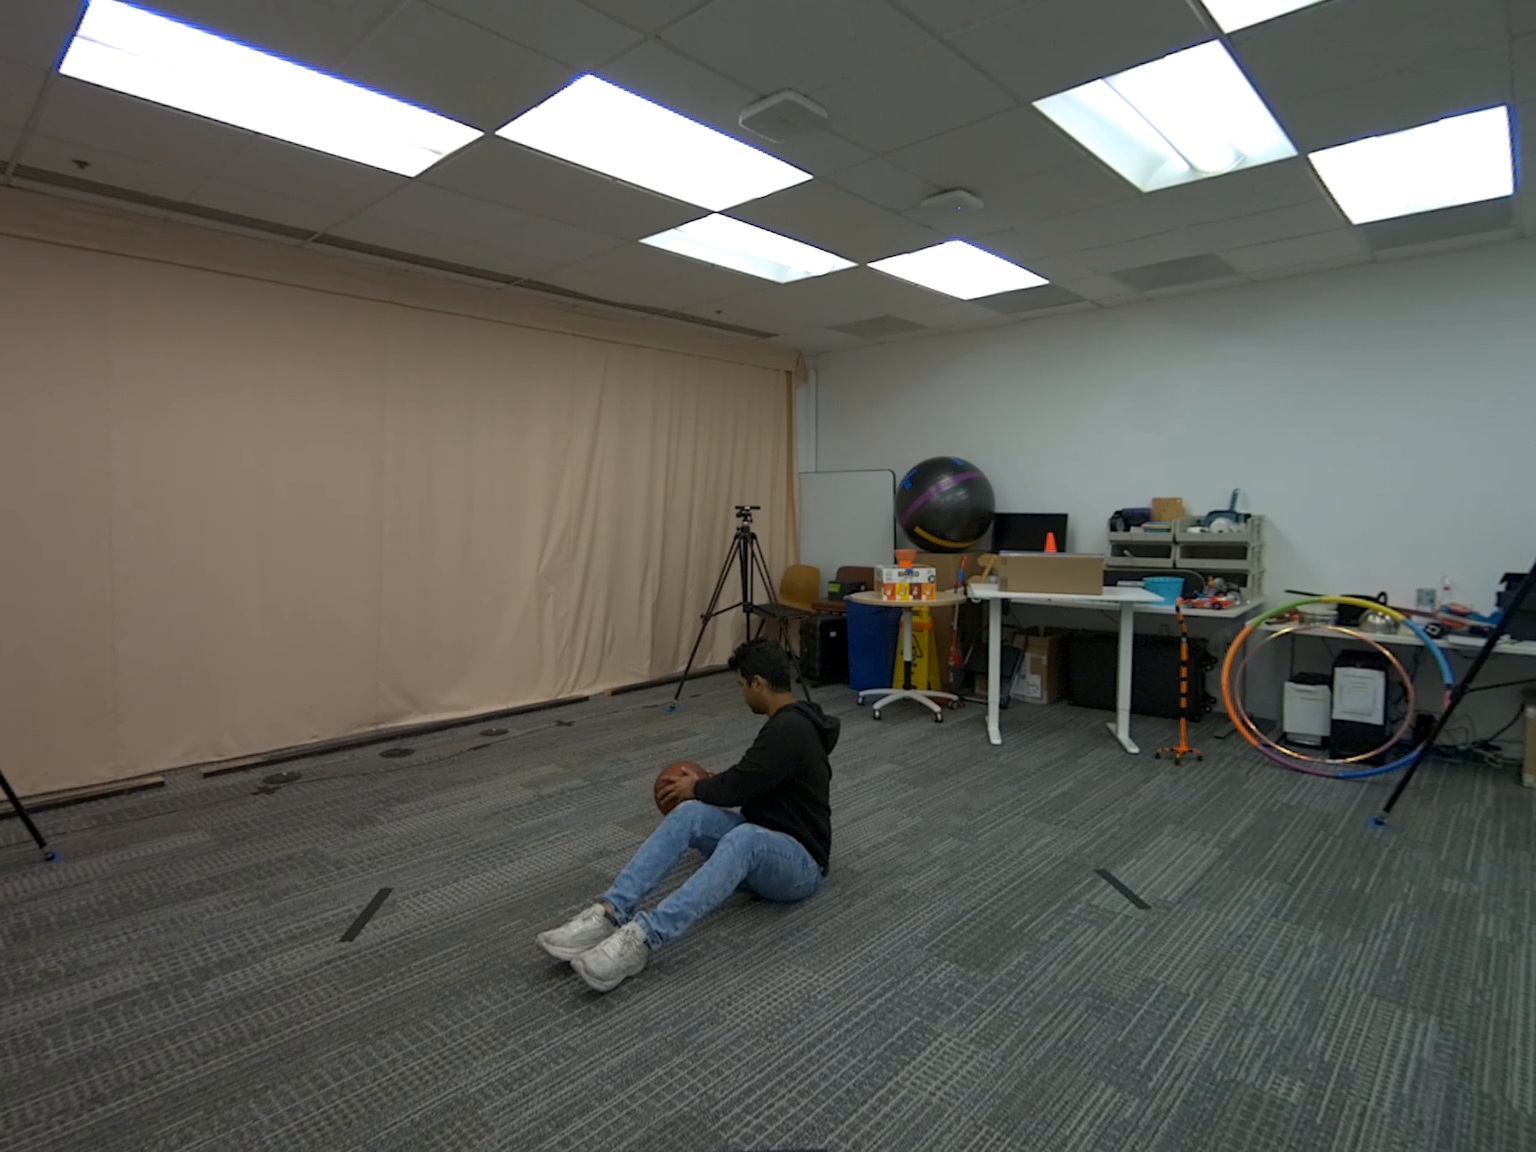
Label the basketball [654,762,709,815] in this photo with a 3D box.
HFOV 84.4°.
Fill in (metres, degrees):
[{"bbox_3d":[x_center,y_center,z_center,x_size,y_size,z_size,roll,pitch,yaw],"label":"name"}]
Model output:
[{"bbox_3d":[-0.339,0.866,3.369,0.236,0.235,0.237,0,4,-2],"label":"basketball"}]
